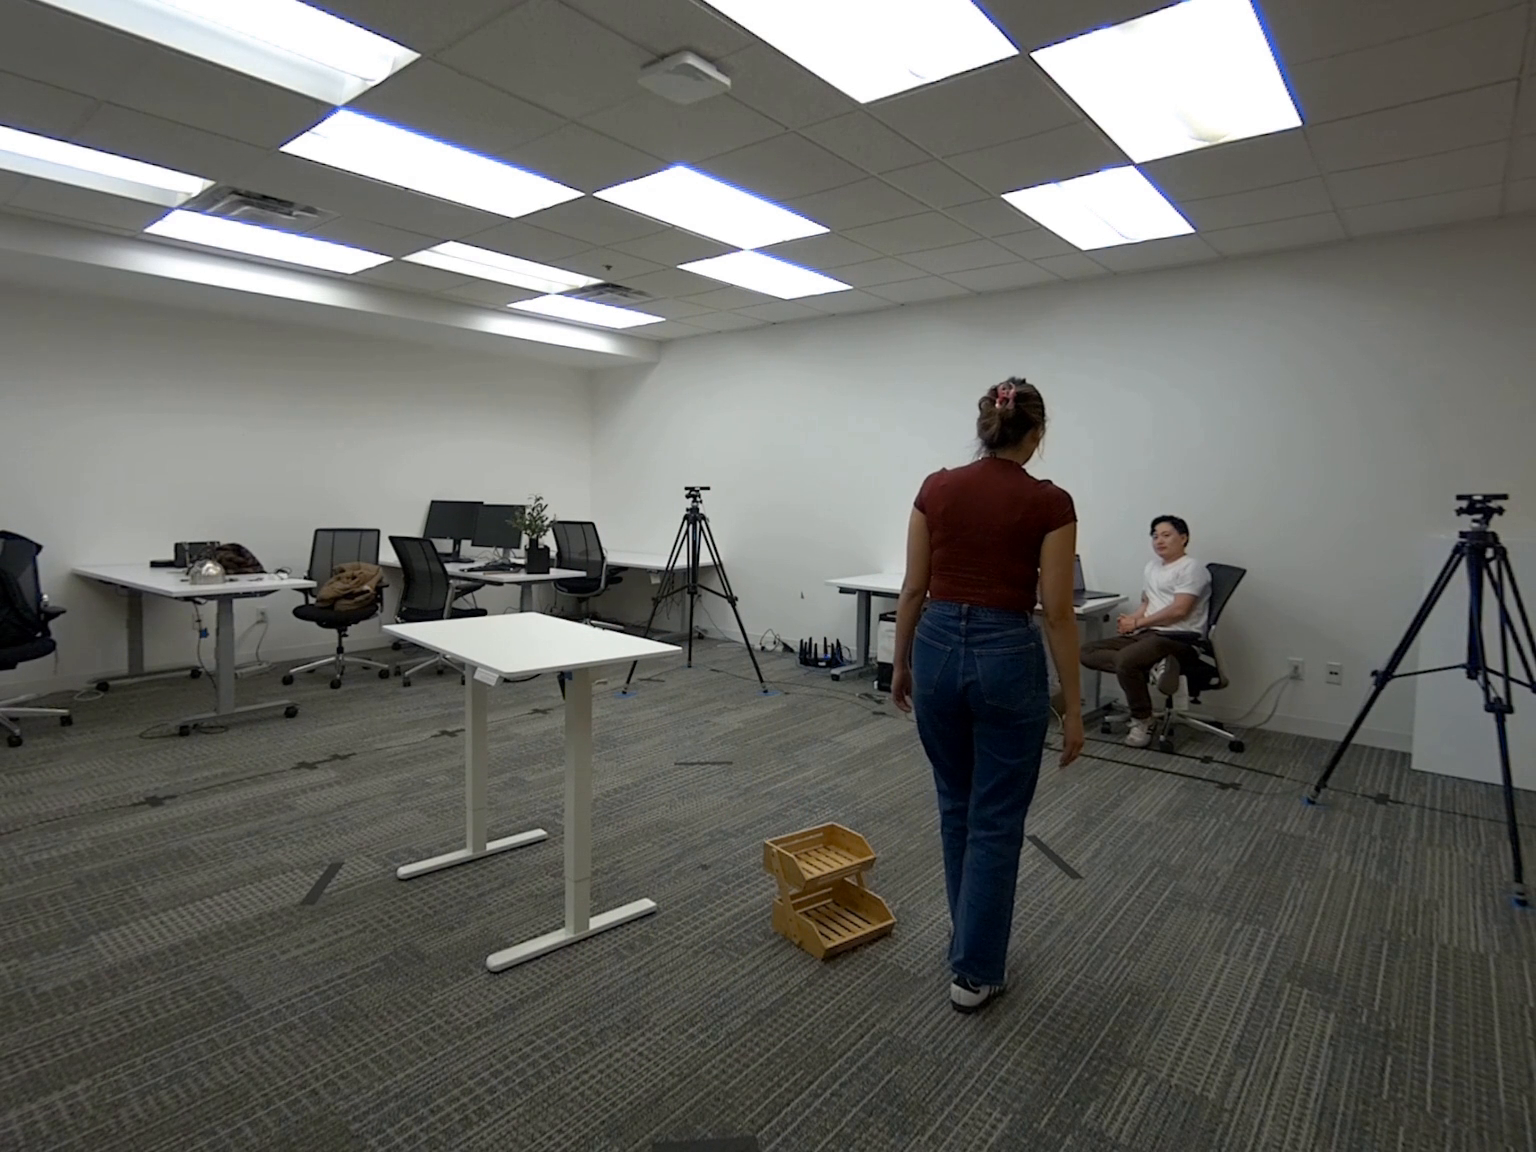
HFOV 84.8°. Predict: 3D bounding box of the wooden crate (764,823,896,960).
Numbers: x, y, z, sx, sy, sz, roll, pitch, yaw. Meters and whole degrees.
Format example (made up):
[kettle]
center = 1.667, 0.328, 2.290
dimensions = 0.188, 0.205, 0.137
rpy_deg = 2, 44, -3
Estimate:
[wooden crate]
center = 0.190, 0.979, 2.692
dimensions = 0.315, 0.272, 0.312
rpy_deg = -2, 5, -37
